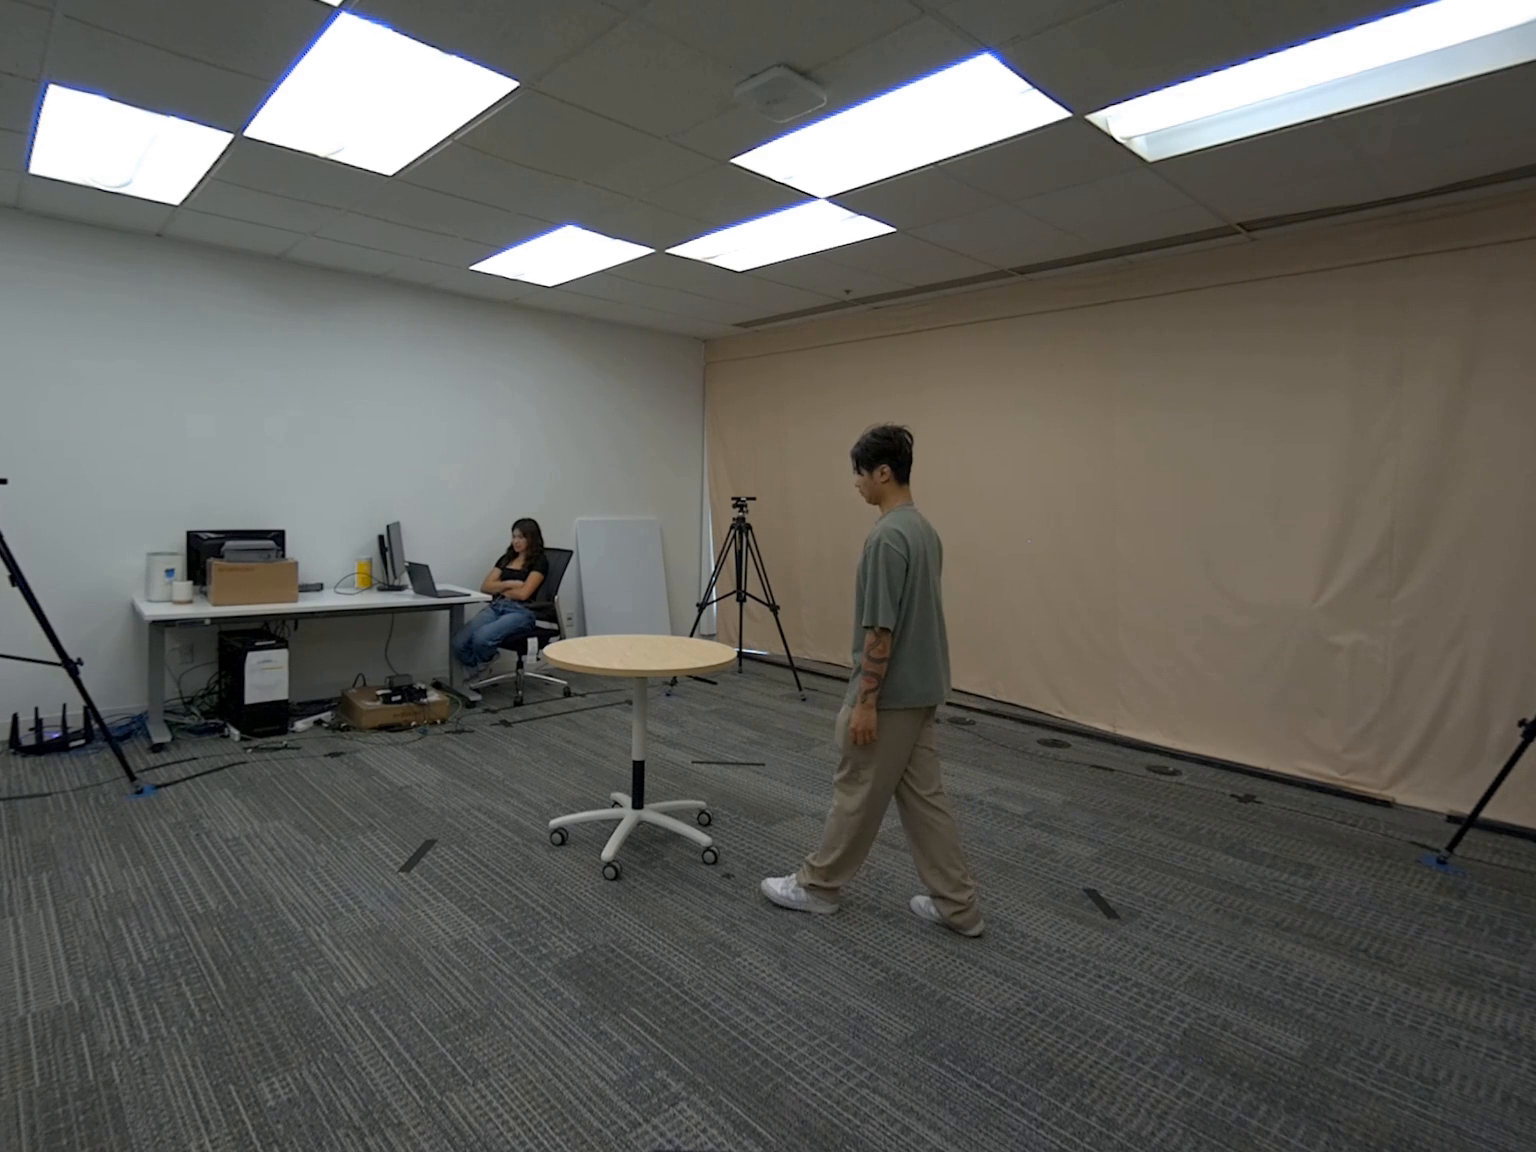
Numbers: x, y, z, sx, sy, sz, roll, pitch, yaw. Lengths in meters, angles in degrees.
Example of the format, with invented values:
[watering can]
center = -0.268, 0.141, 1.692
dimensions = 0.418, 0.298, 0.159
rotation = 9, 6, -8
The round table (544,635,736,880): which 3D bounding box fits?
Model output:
[round table]
center = -0.524, 0.685, 3.358
dimensions = 0.784, 0.785, 0.787
rotation = 2, 3, -1
